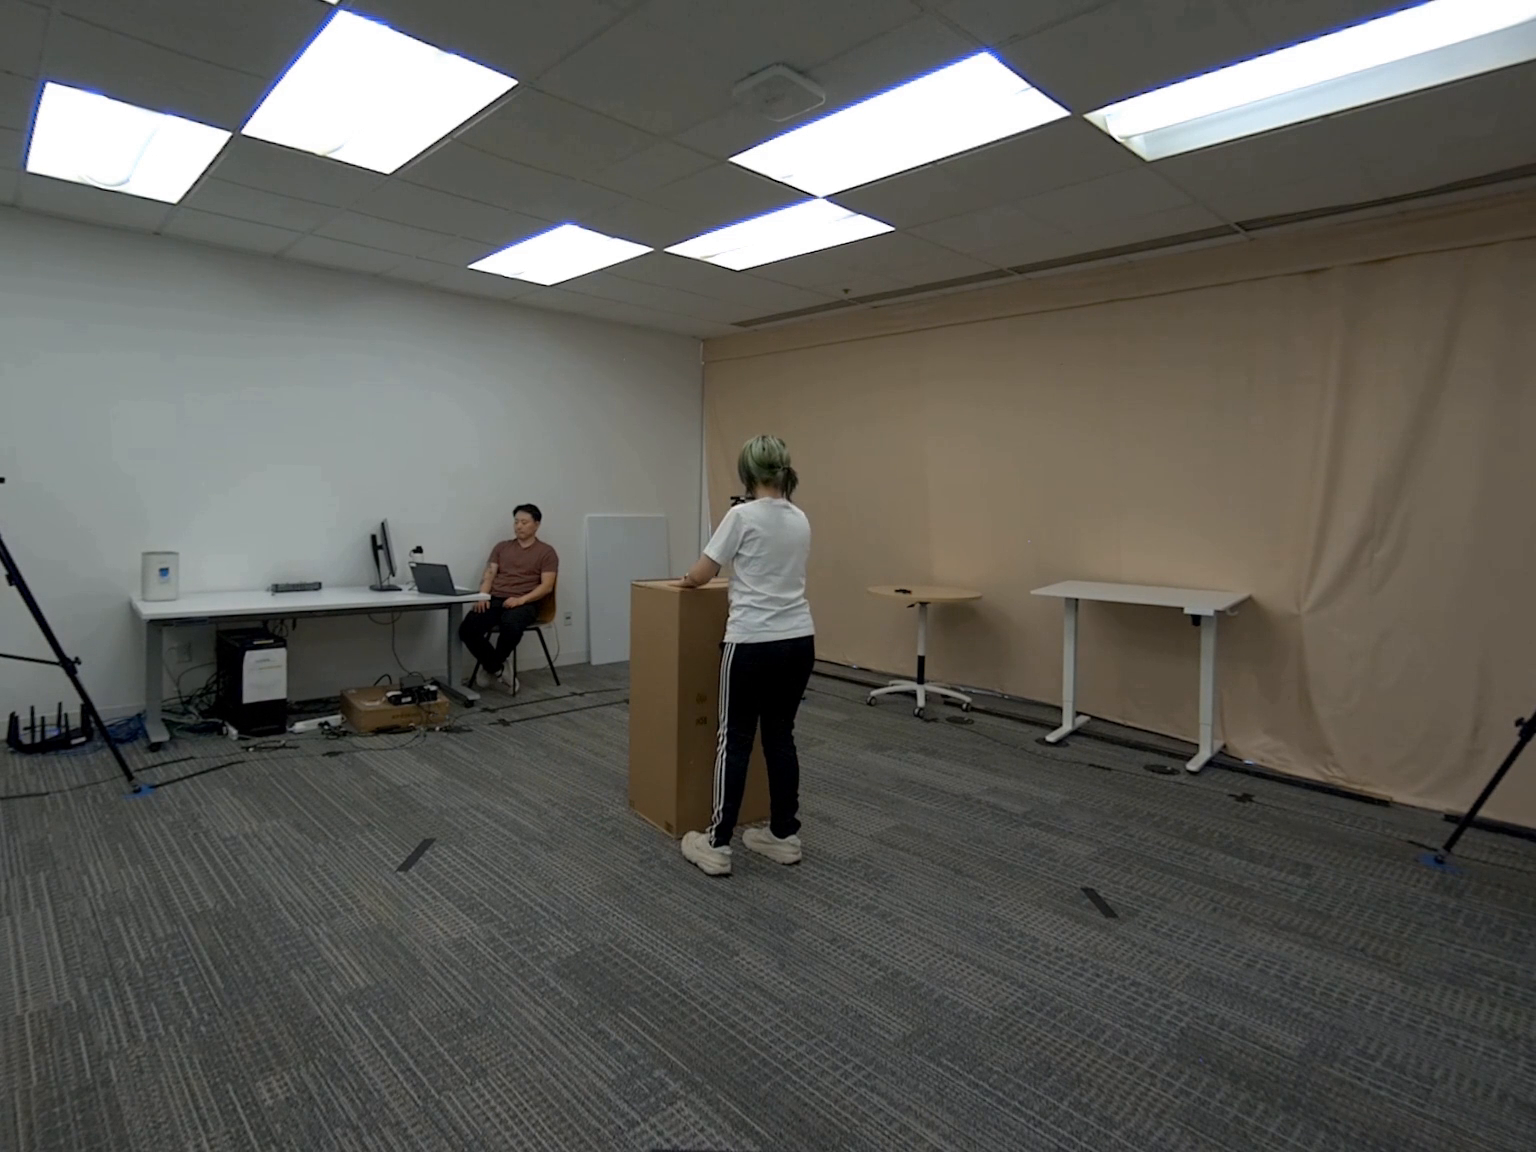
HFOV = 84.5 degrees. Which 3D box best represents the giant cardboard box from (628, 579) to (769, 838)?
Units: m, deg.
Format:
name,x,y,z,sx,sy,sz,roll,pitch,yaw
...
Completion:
name,x,y,z,sx,sy,sz,roll,pitch,yaw
giant cardboard box,-0.269,0.541,3.723,0.571,1.024,0.458,-1,4,-36
